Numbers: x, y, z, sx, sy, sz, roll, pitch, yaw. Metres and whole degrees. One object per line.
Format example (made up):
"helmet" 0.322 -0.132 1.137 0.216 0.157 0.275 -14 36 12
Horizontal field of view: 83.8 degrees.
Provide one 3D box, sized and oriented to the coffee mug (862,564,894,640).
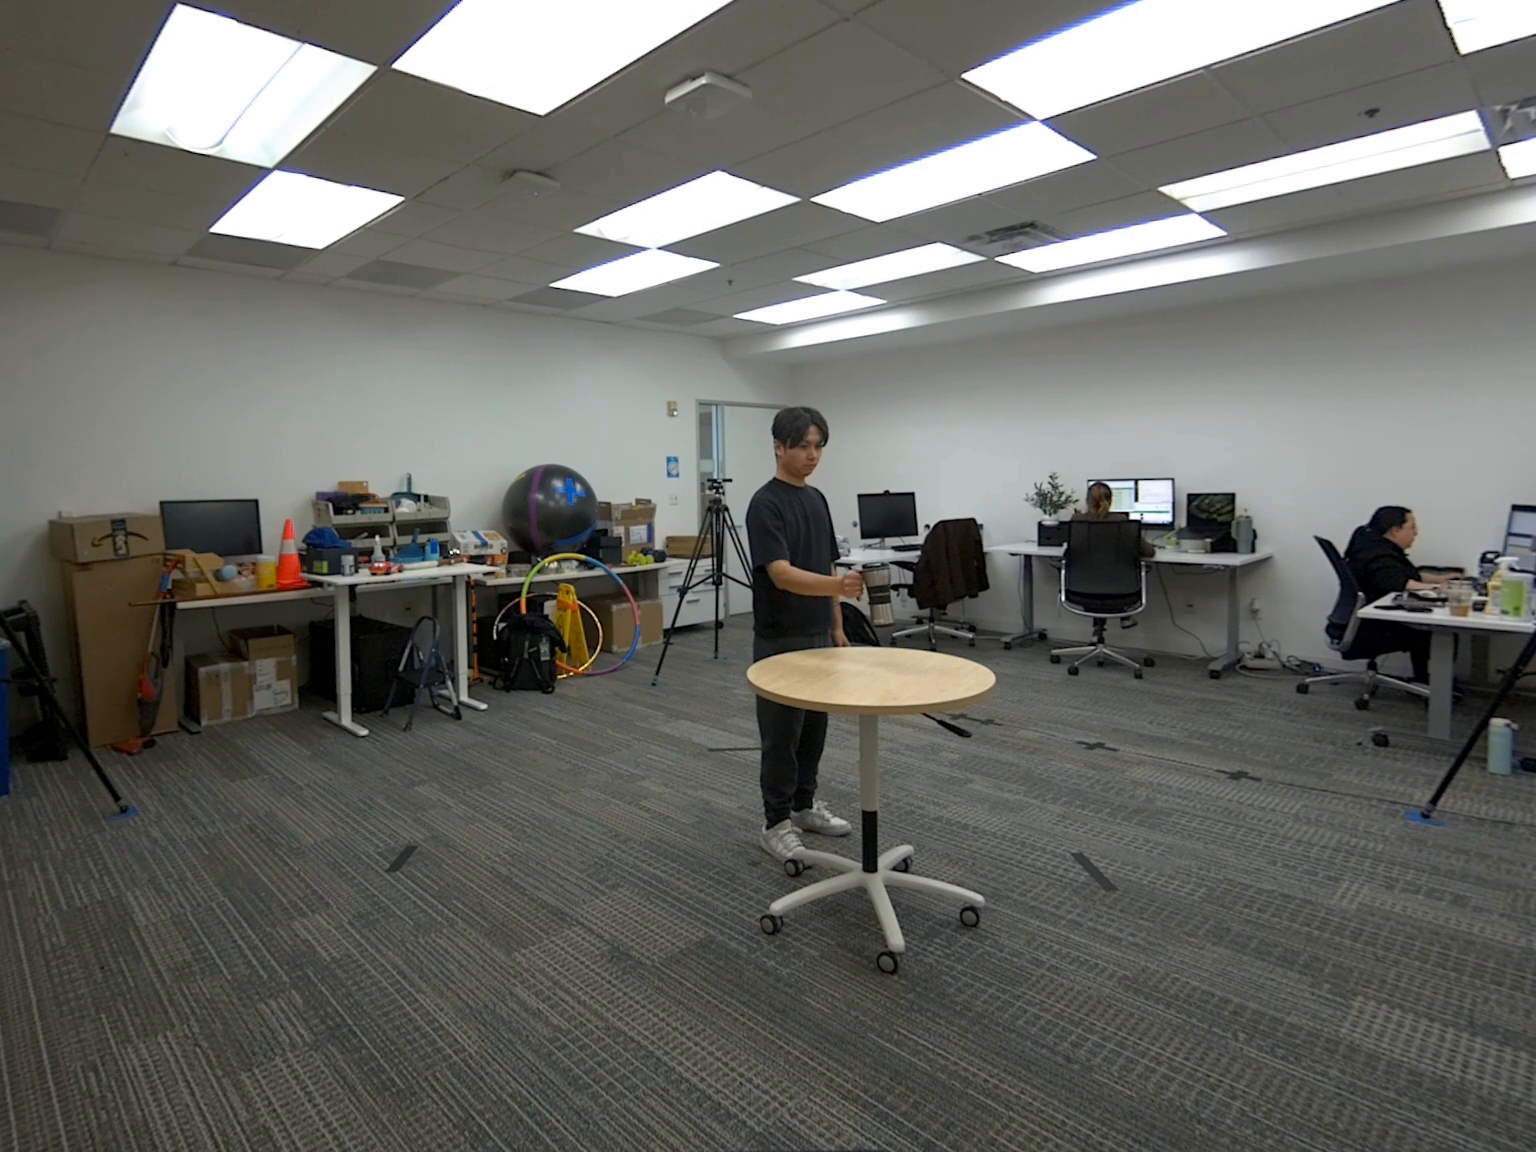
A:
"coffee mug" 0.338 0.065 2.705 0.086 0.203 0.125 -6 1 -35
